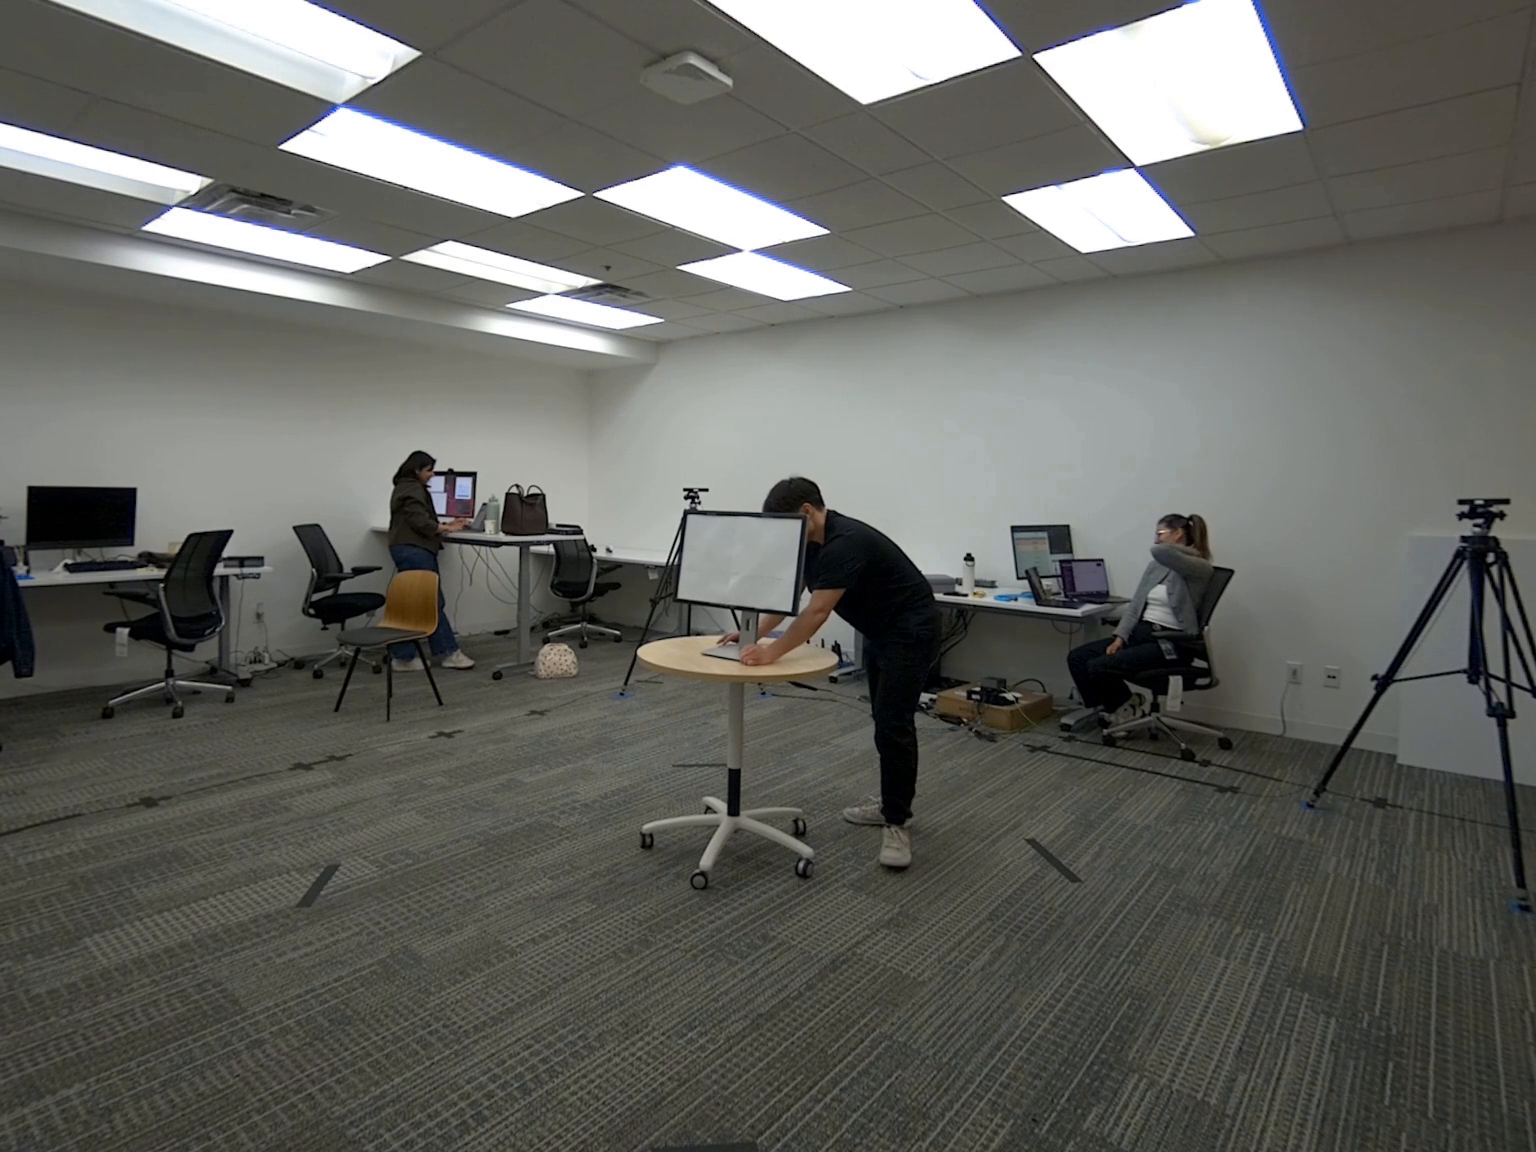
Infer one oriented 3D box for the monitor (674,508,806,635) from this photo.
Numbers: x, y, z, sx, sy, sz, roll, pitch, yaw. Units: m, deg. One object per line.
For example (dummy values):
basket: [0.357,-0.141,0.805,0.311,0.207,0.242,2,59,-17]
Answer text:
monitor: [-0.104,0.028,3.192,0.556,0.520,0.182,4,7,34]
